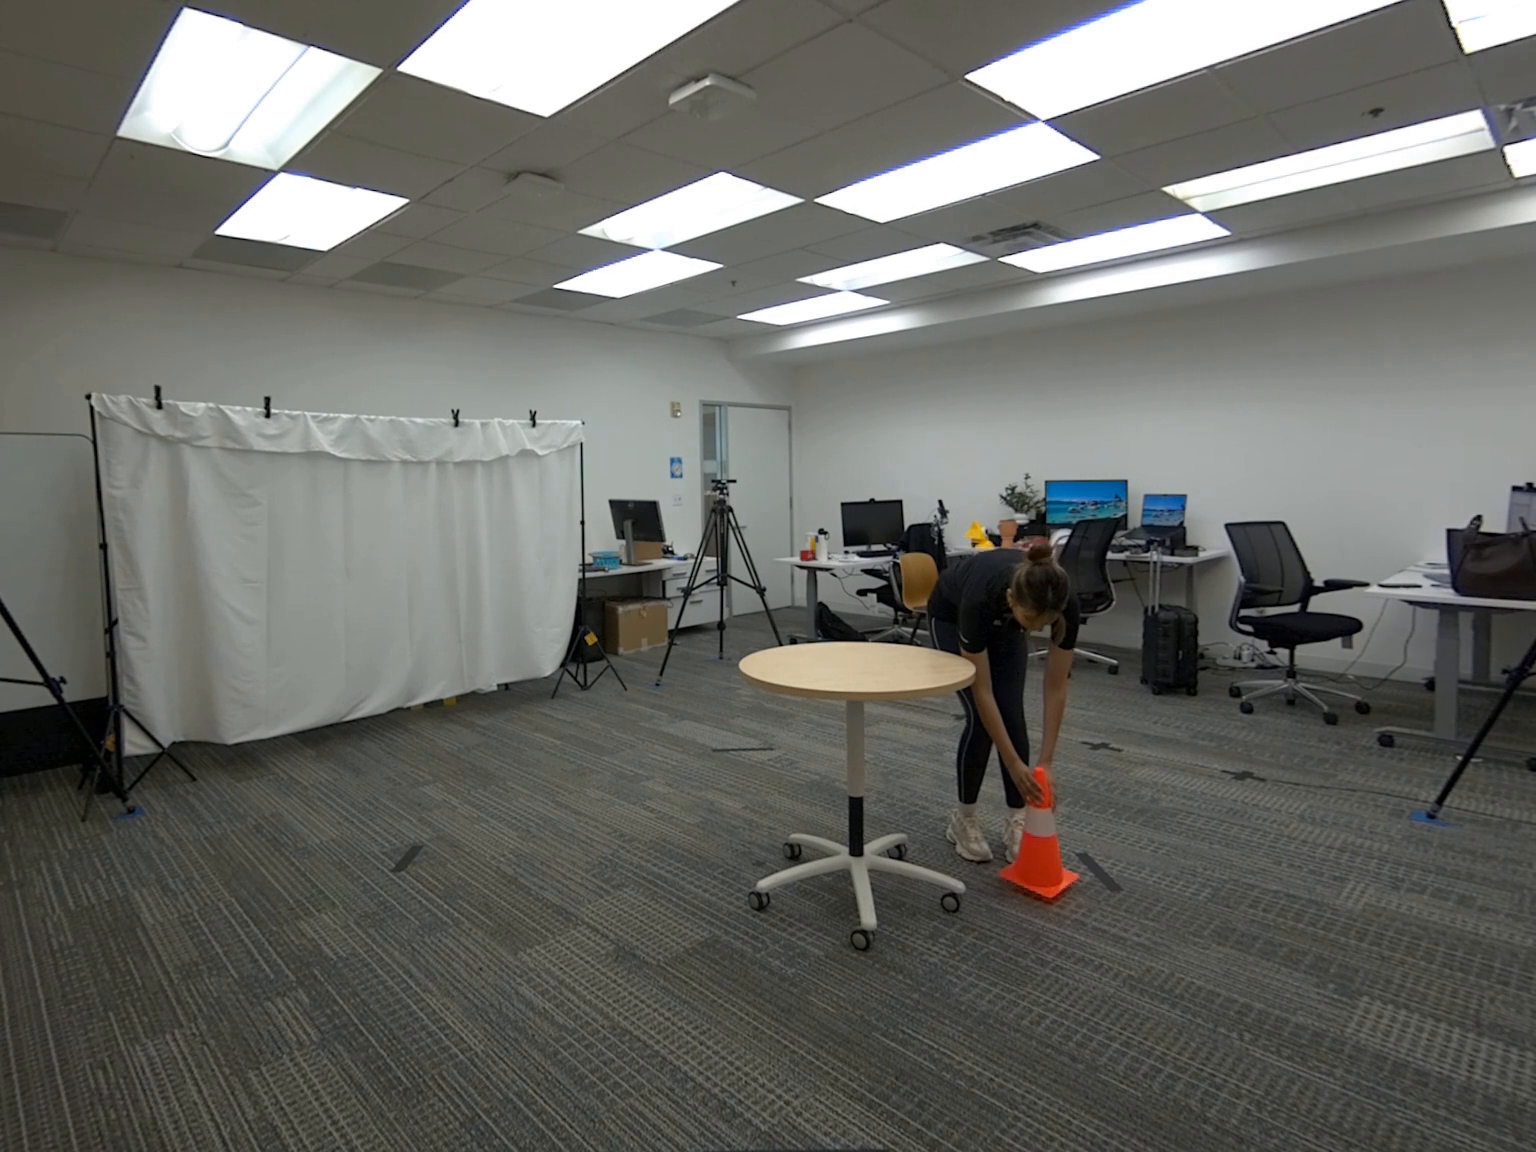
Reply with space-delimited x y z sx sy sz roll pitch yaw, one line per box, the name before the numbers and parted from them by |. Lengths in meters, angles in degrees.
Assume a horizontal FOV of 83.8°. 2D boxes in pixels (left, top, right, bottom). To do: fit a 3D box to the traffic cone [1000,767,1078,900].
traffic cone | 0.928 0.837 2.850 0.200 0.380 0.210 -7 13 -39
